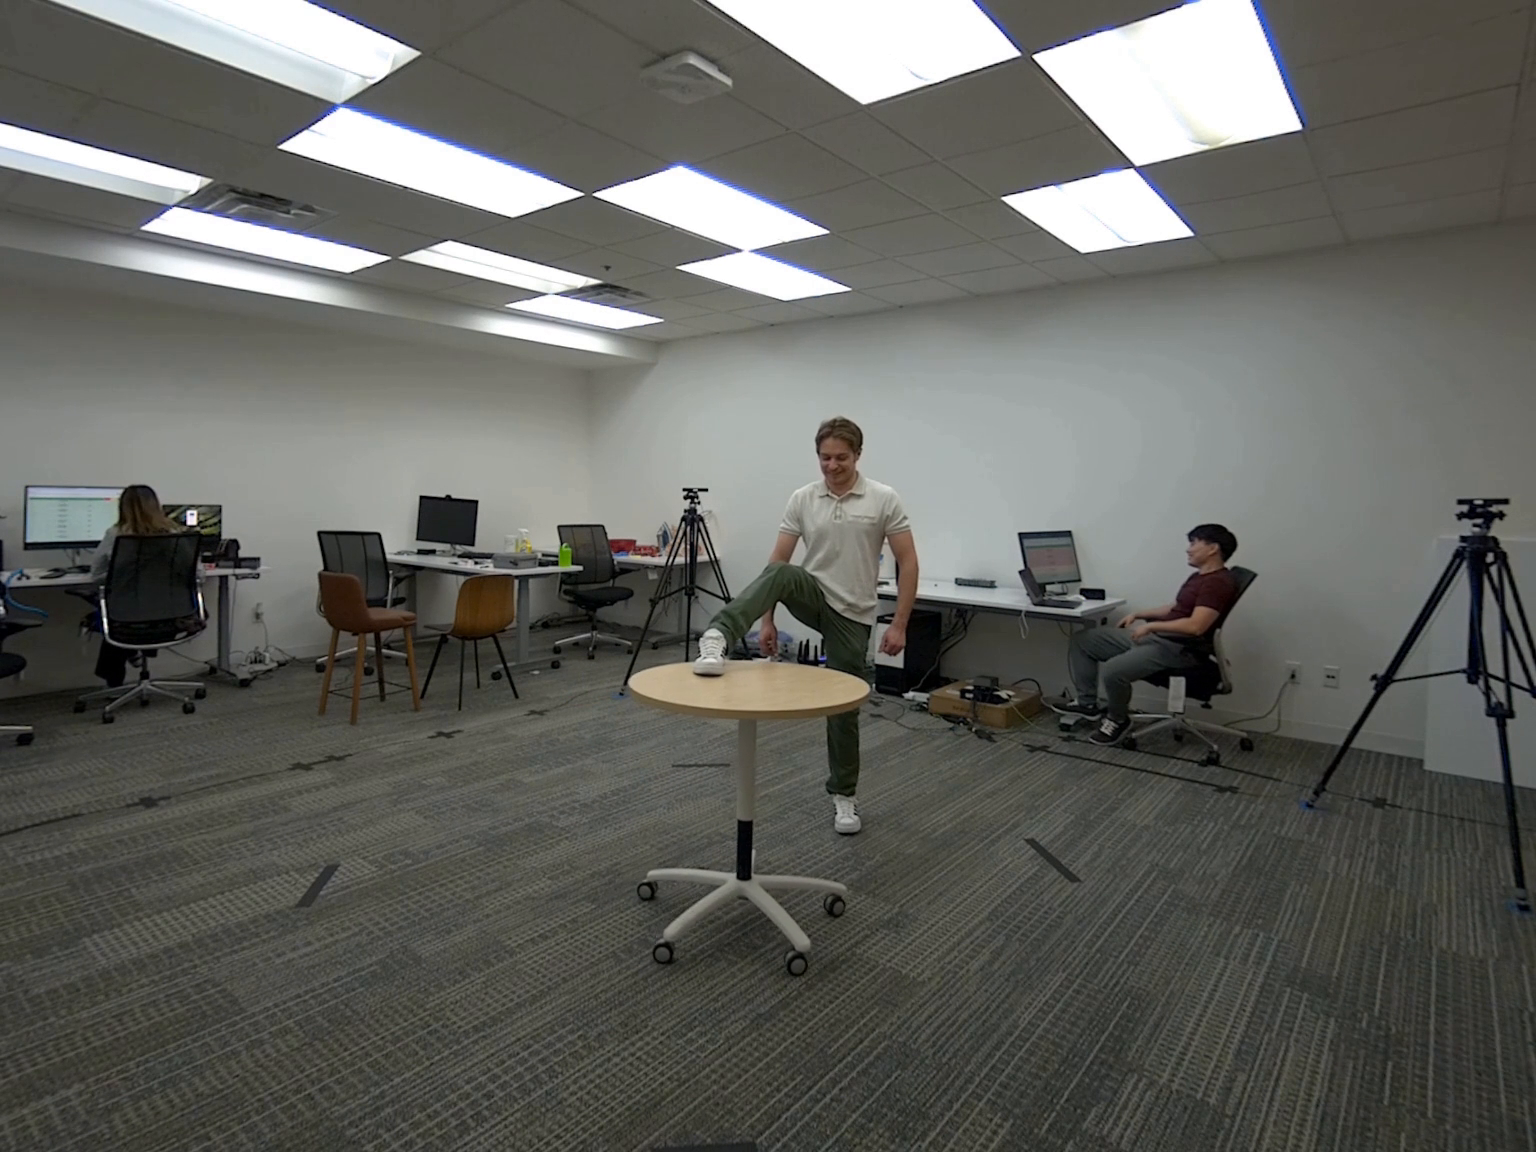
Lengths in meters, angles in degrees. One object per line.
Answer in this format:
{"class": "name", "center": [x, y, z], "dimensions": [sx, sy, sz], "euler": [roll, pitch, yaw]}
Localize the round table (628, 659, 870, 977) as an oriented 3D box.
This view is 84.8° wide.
{"class": "round table", "center": [-0.087, 0.726, 2.724], "dimensions": [0.763, 0.792, 0.767], "euler": [1, 3, -2]}
